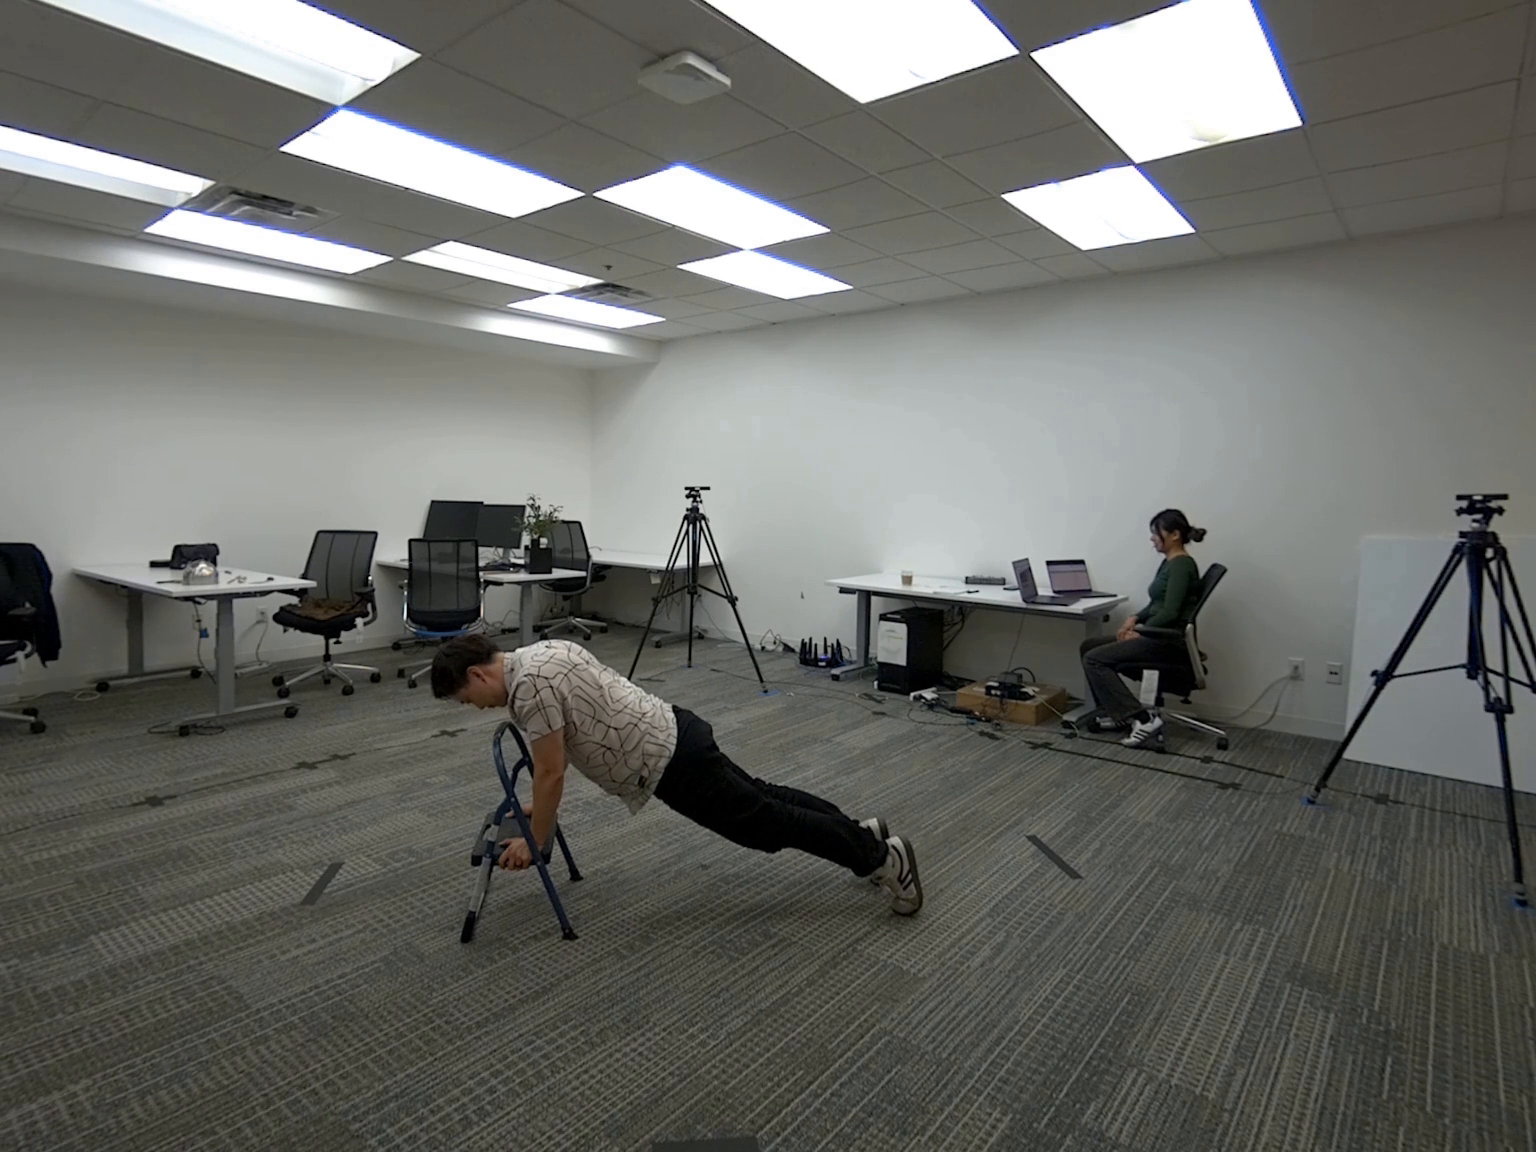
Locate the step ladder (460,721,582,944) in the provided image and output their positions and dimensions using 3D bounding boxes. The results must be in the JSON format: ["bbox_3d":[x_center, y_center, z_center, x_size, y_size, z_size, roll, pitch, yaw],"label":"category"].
[{"bbox_3d":[-0.803,0.792,2.781,0.346,0.604,0.436,1,3,-9],"label":"step ladder"}]
